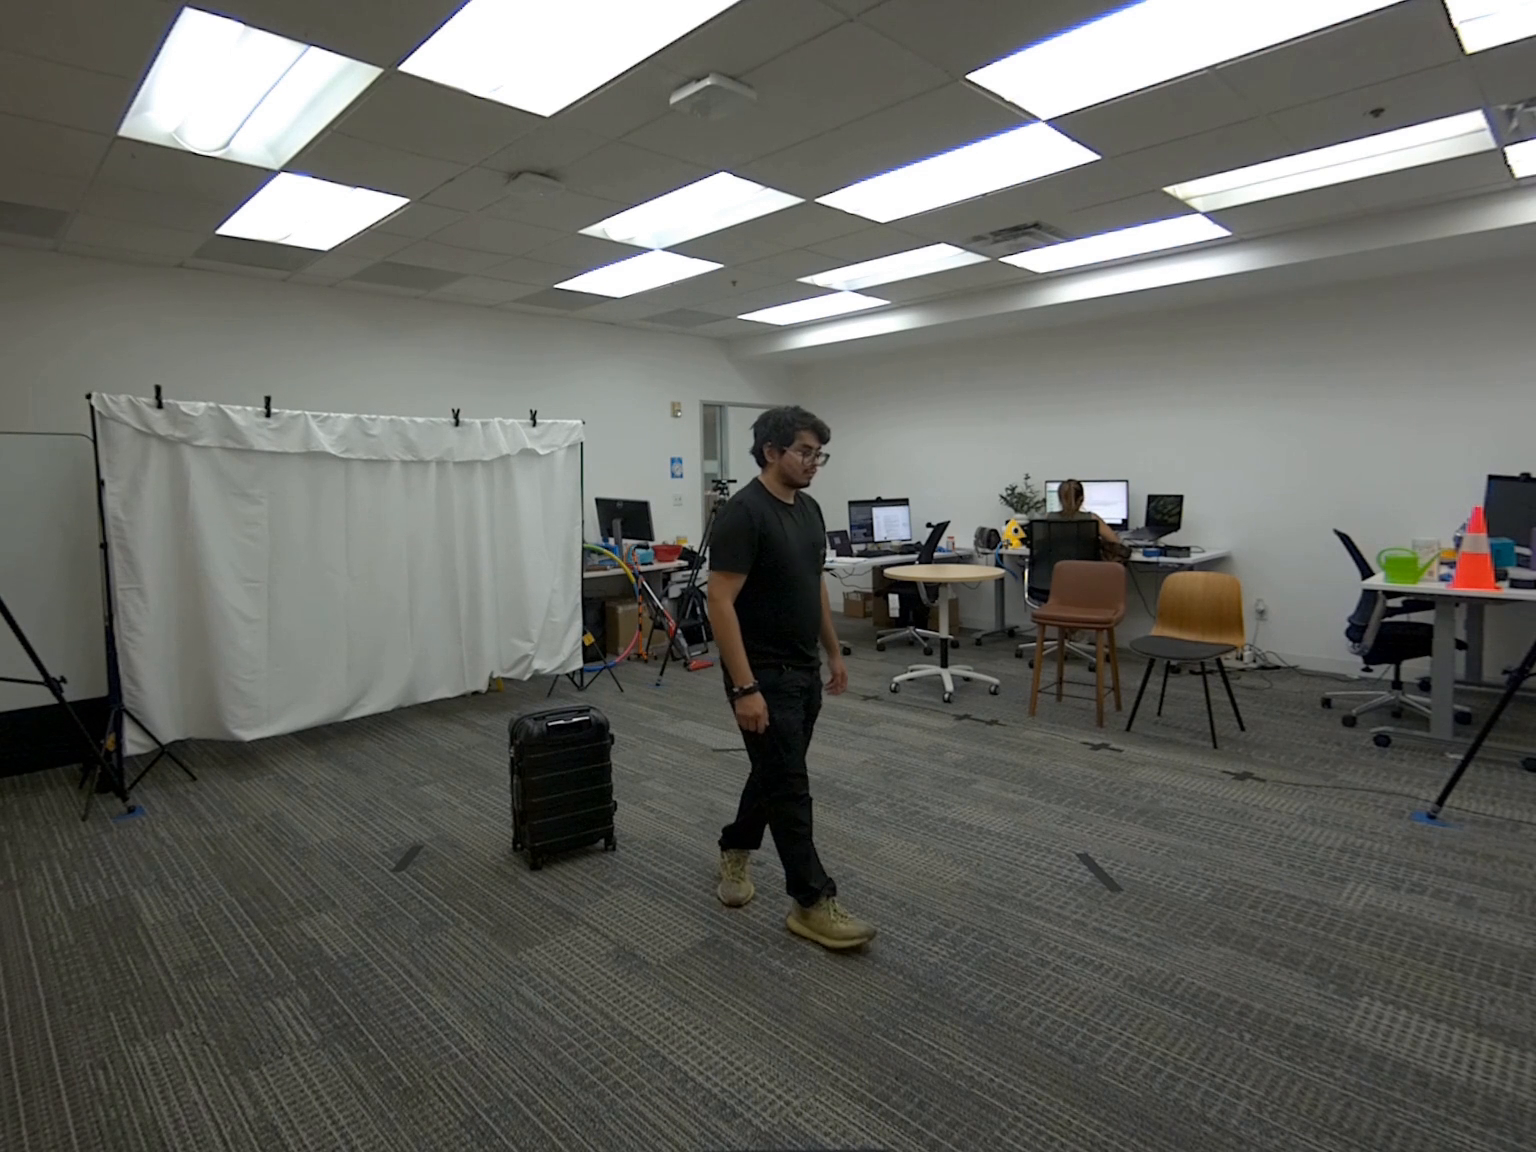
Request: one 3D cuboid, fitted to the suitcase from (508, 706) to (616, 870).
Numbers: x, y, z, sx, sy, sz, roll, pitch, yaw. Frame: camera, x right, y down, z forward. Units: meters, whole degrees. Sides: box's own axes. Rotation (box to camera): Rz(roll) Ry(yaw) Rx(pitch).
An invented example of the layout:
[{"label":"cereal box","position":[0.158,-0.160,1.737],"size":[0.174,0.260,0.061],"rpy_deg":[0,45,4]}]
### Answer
[{"label":"suitcase","position":[-0.783,0.774,3.240],"size":[0.366,0.547,0.255],"rpy_deg":[-4,6,-32]}]
